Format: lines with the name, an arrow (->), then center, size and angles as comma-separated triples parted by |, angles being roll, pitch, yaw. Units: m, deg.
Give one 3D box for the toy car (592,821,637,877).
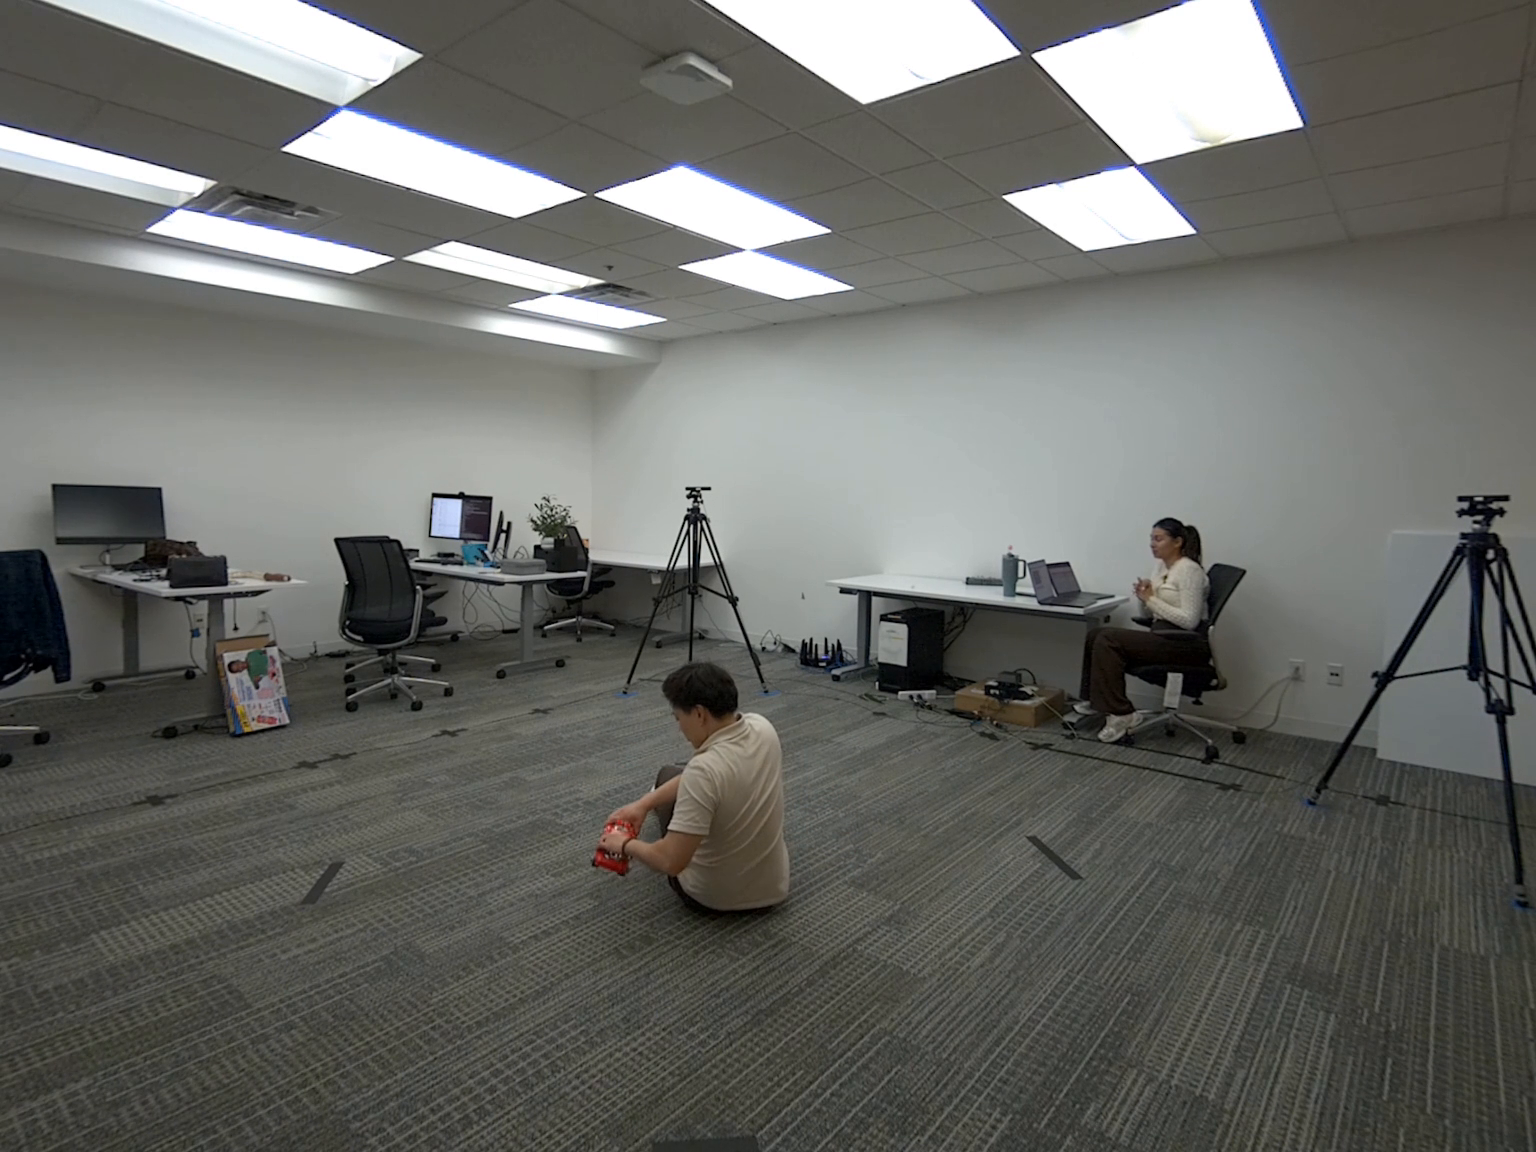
toy car -> -0.501, 0.888, 2.808 | 0.130, 0.082, 0.258 | 15, 21, -2
